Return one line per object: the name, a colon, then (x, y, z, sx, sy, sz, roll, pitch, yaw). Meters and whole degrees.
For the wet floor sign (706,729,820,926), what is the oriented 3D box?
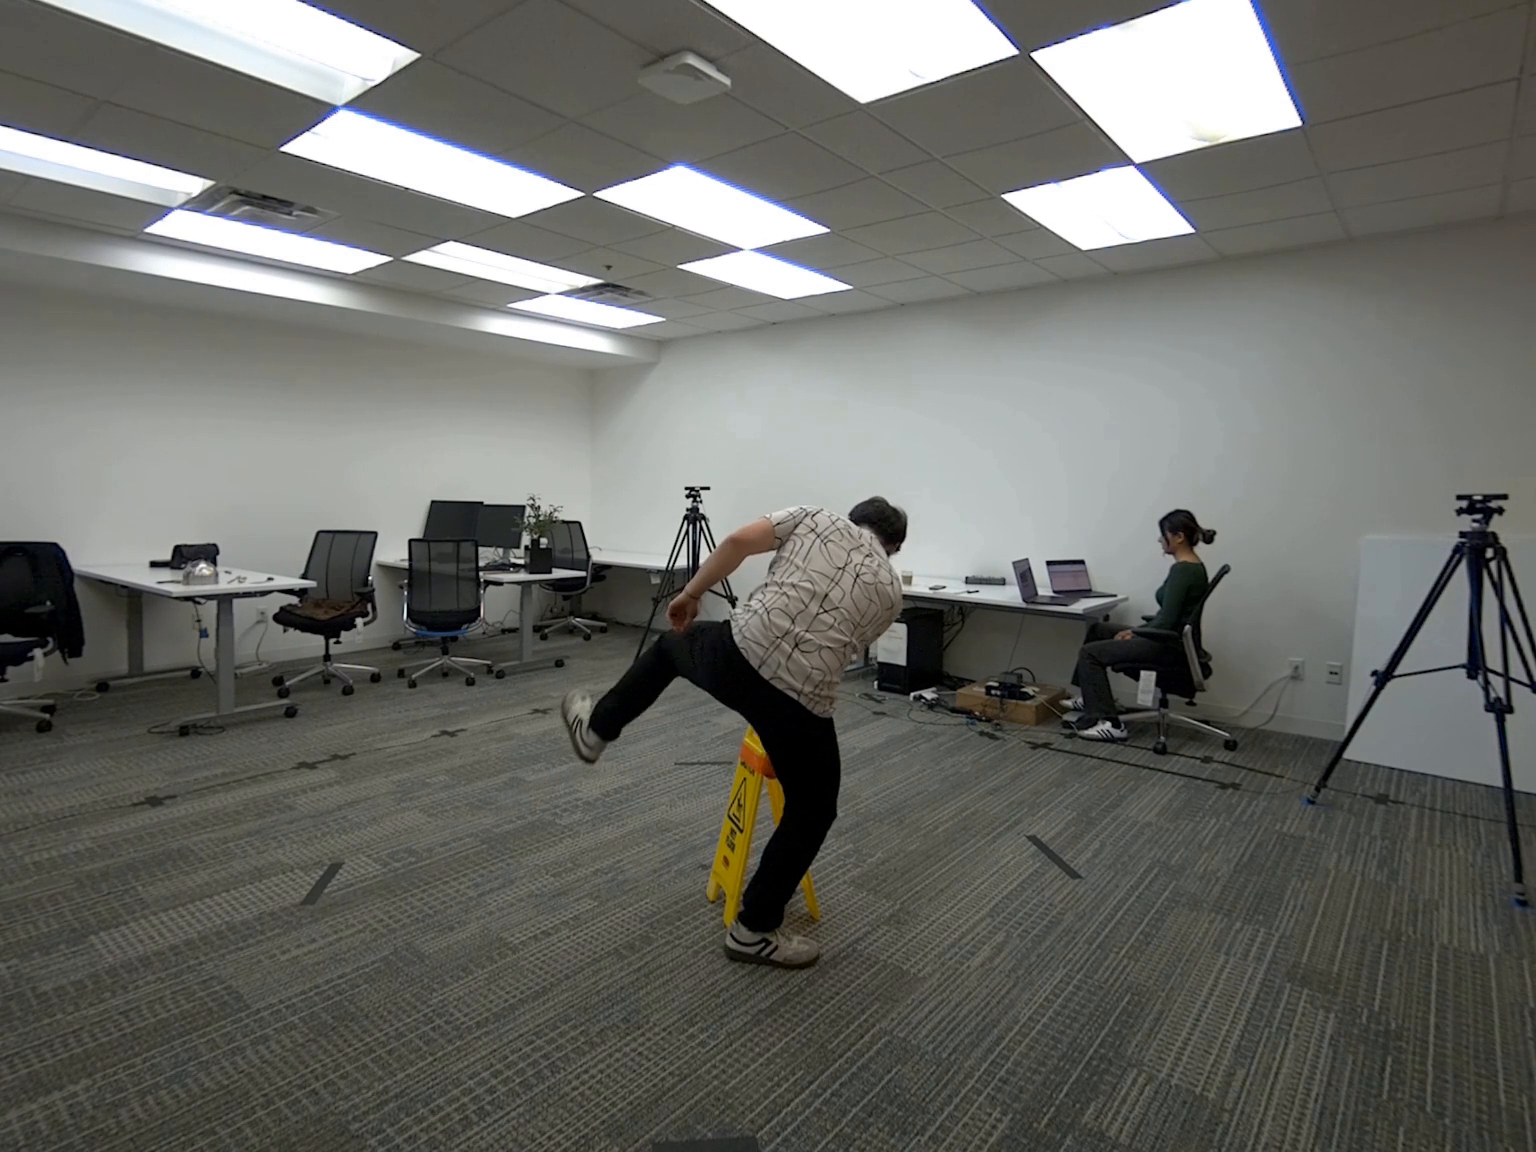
wet floor sign: (-0.026, 0.769, 2.822, 0.284, 0.645, 0.288, 0, 2, -18)
